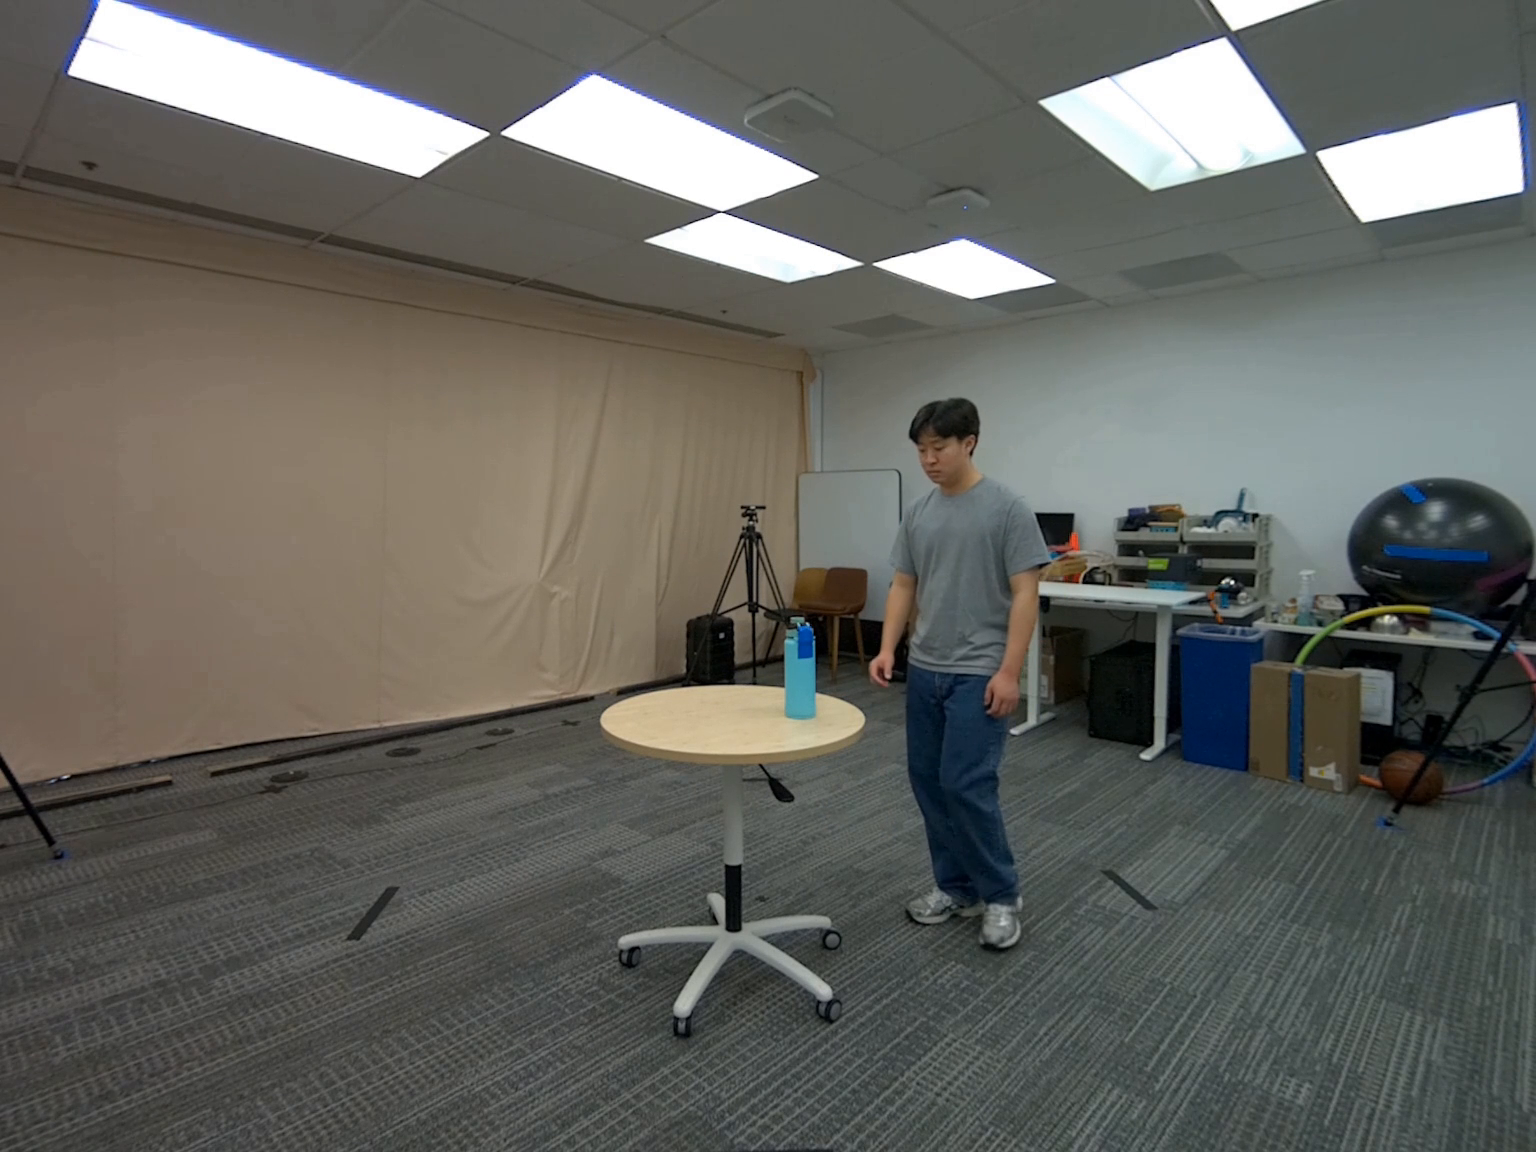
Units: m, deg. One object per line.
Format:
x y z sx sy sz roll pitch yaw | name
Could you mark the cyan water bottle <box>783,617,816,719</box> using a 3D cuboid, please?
0.098 0.271 2.425 0.092 0.282 0.093 0 5 -2 | cyan water bottle
